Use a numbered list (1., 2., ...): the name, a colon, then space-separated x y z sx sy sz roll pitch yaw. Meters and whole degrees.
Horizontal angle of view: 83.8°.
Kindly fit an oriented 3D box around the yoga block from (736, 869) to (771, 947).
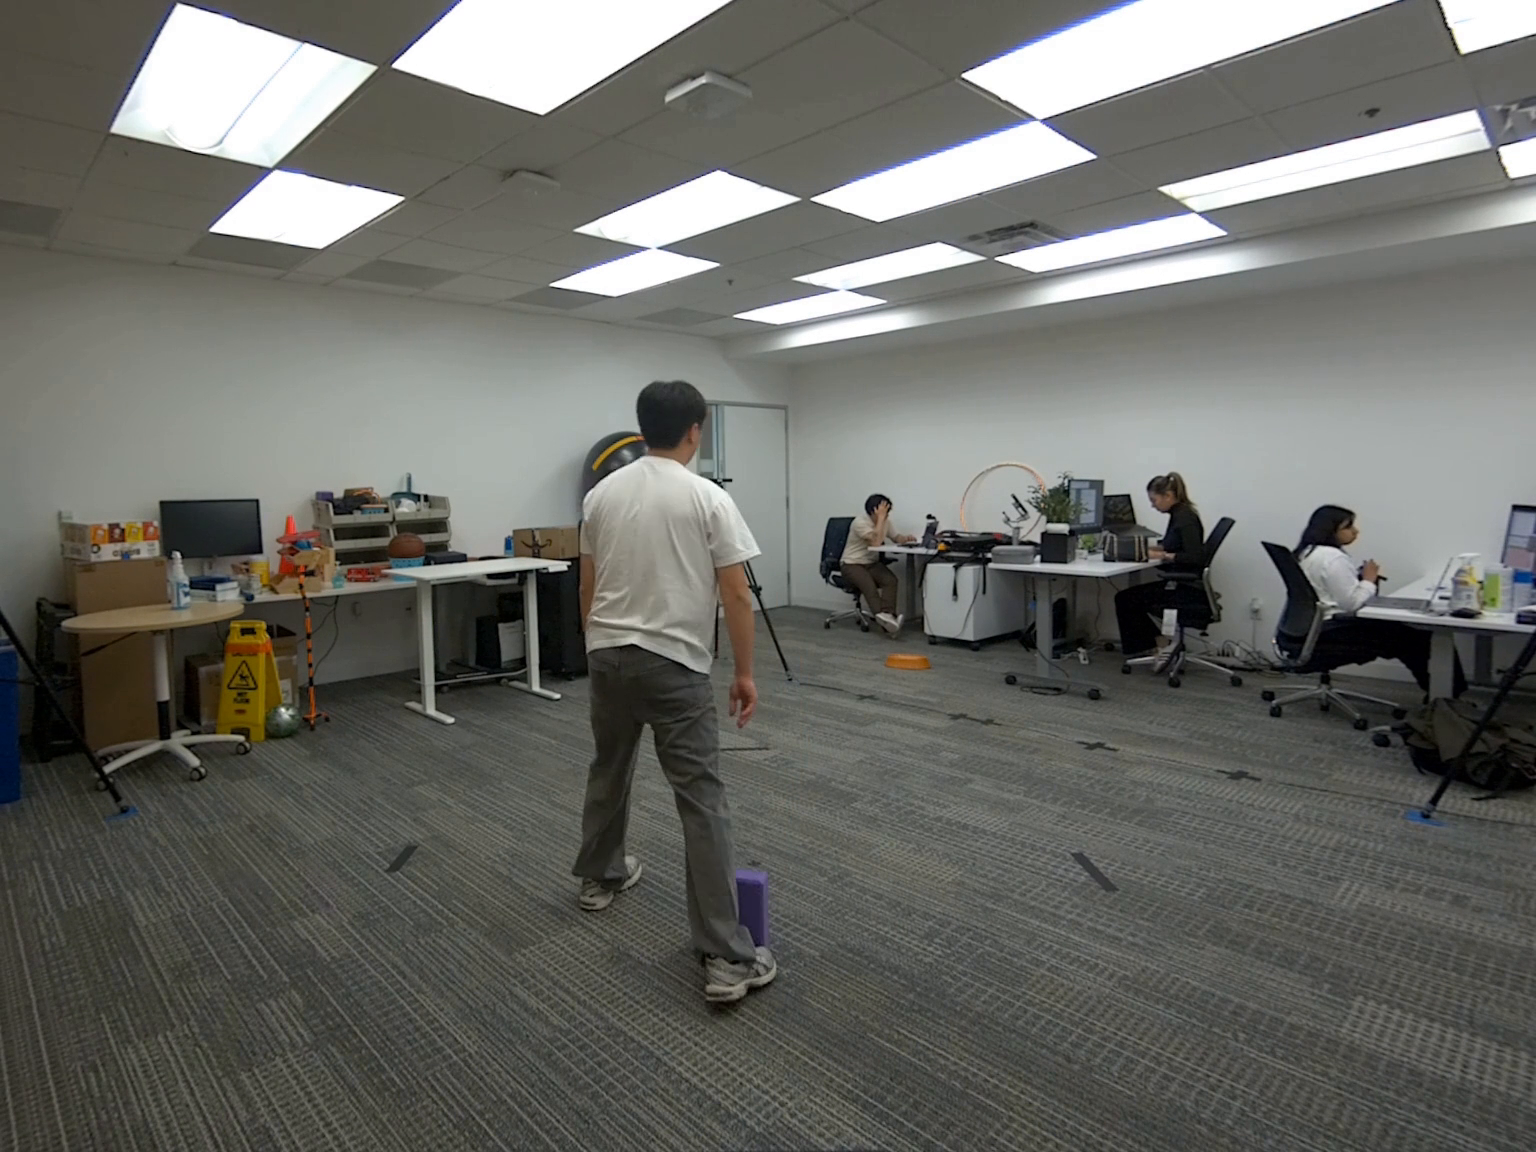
1. yoga block: -0.068 0.995 2.542 0.151 0.229 0.075 1 3 16
